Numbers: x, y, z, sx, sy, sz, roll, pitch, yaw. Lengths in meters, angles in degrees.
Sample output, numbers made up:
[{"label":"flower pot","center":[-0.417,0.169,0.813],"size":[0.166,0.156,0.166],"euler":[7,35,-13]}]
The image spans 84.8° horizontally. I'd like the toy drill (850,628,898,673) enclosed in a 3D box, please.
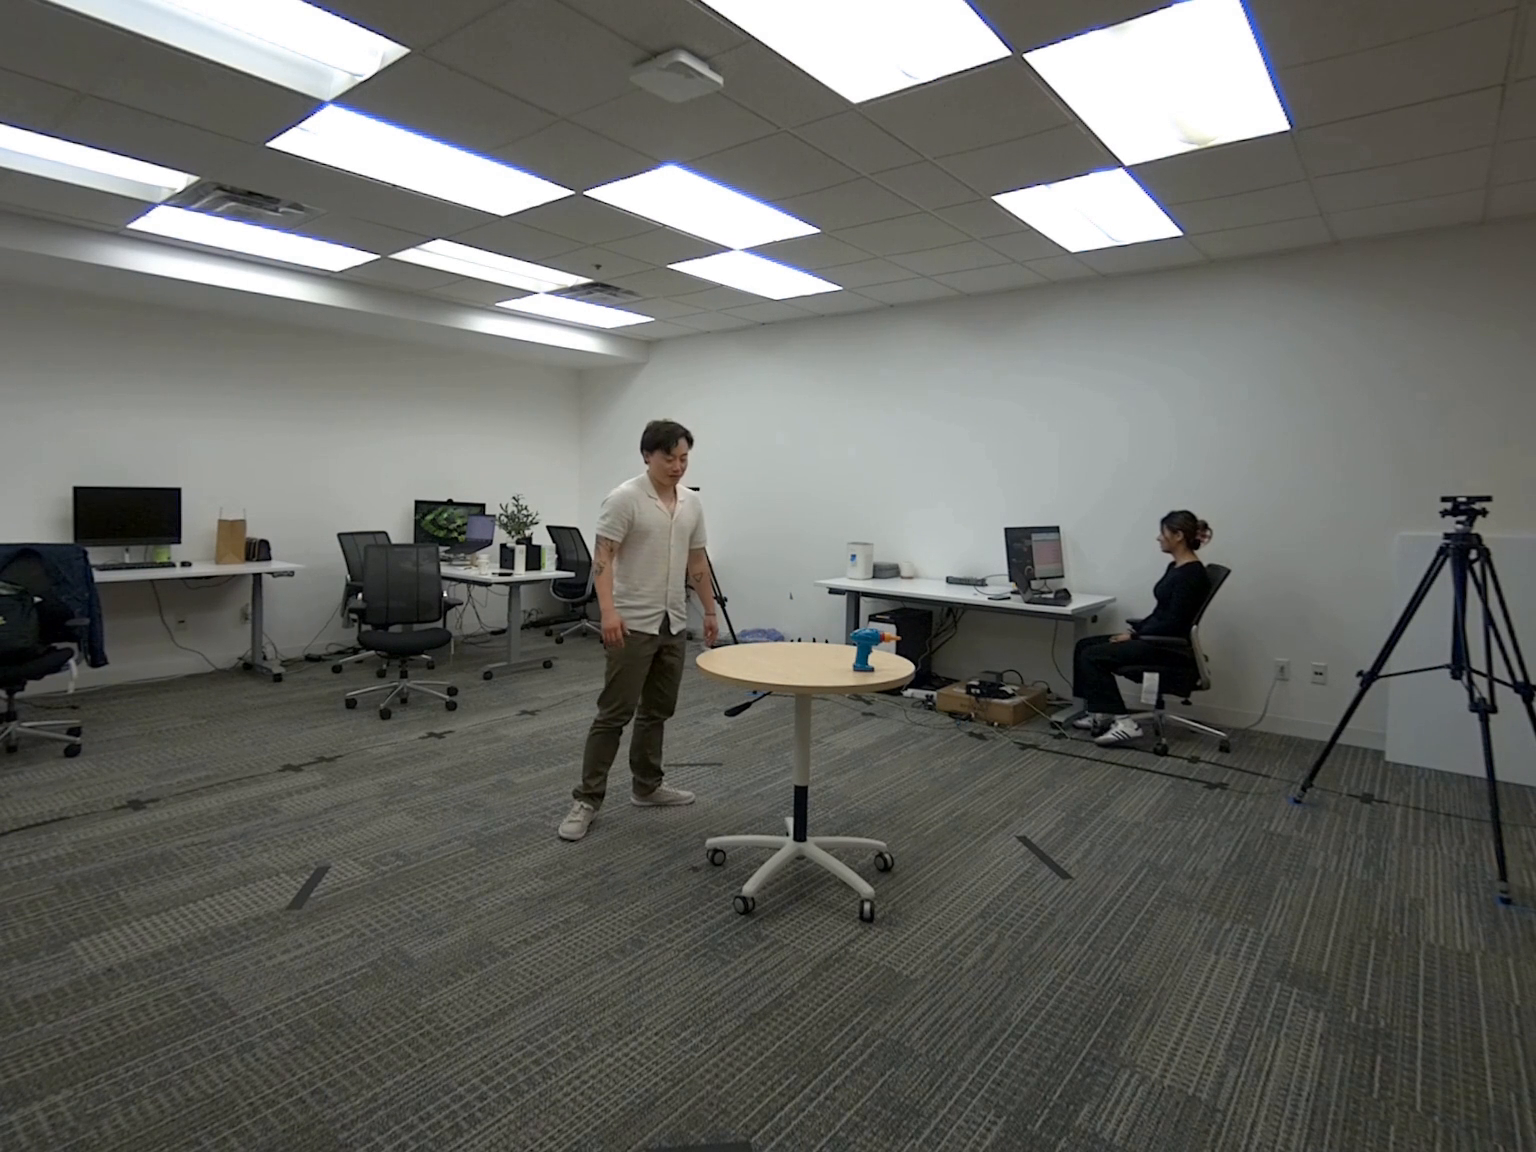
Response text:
[{"label":"toy drill","center":[0.351,0.241,2.869],"size":[0.169,0.146,0.061],"euler":[0,2,-4]}]
